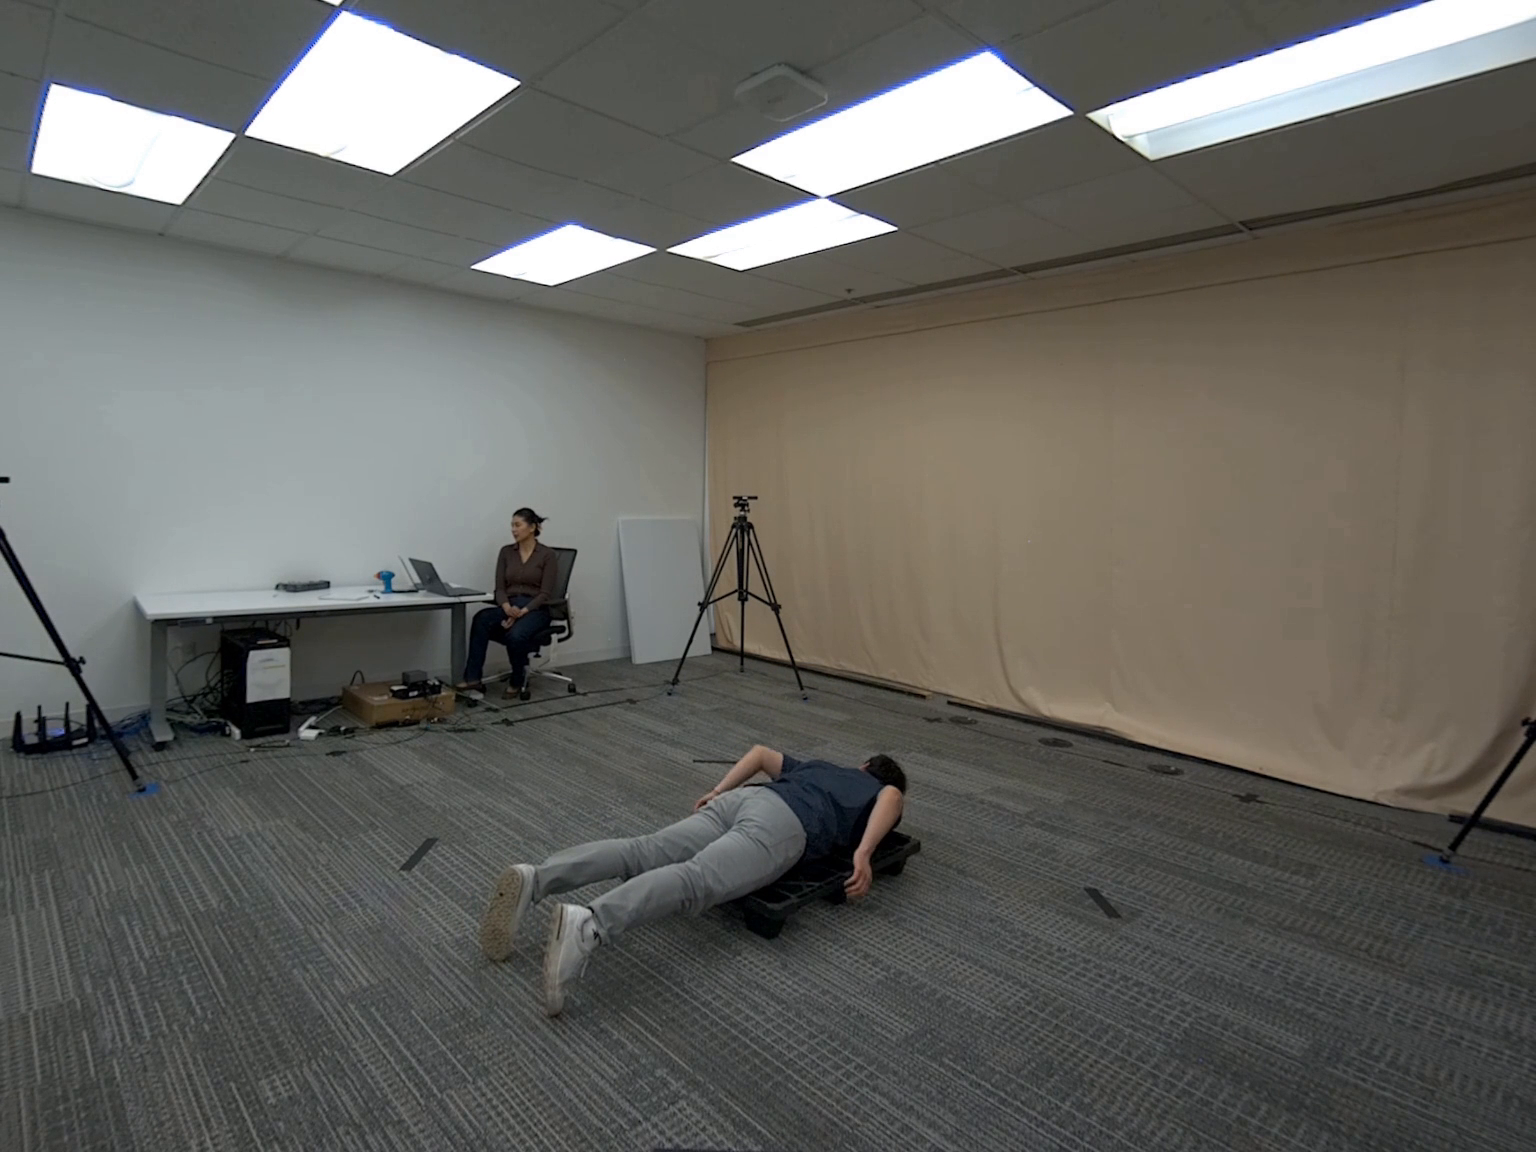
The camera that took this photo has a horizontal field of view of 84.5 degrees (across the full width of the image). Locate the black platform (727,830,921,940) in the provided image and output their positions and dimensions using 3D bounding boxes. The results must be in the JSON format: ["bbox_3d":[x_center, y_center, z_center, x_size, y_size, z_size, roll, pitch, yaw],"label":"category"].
[{"bbox_3d":[0.082,1.058,3.058,0.620,0.143,0.787,3,5,44],"label":"black platform"}]
